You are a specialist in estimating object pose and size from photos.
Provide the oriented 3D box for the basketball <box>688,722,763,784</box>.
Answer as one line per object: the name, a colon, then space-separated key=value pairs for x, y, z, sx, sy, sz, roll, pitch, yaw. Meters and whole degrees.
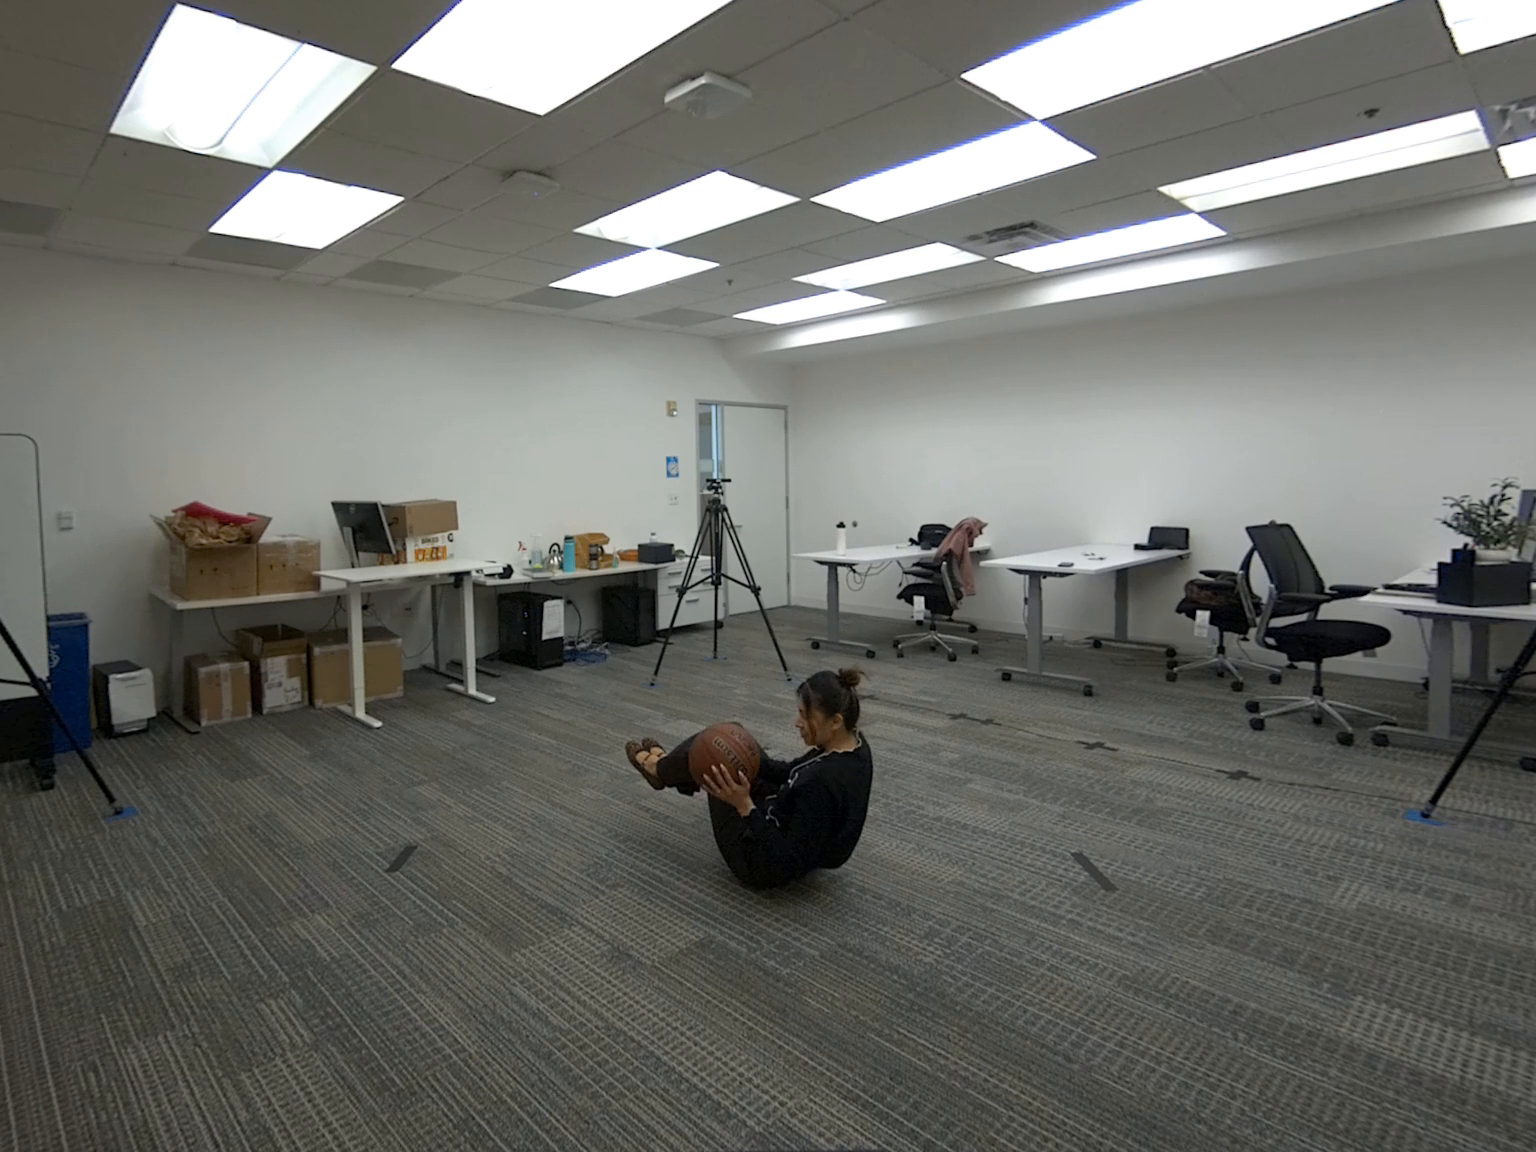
basketball: x=-0.130 y=0.611 z=2.840 sx=0.236 sy=0.235 sz=0.237 roll=-1 pitch=5 yaw=-2
